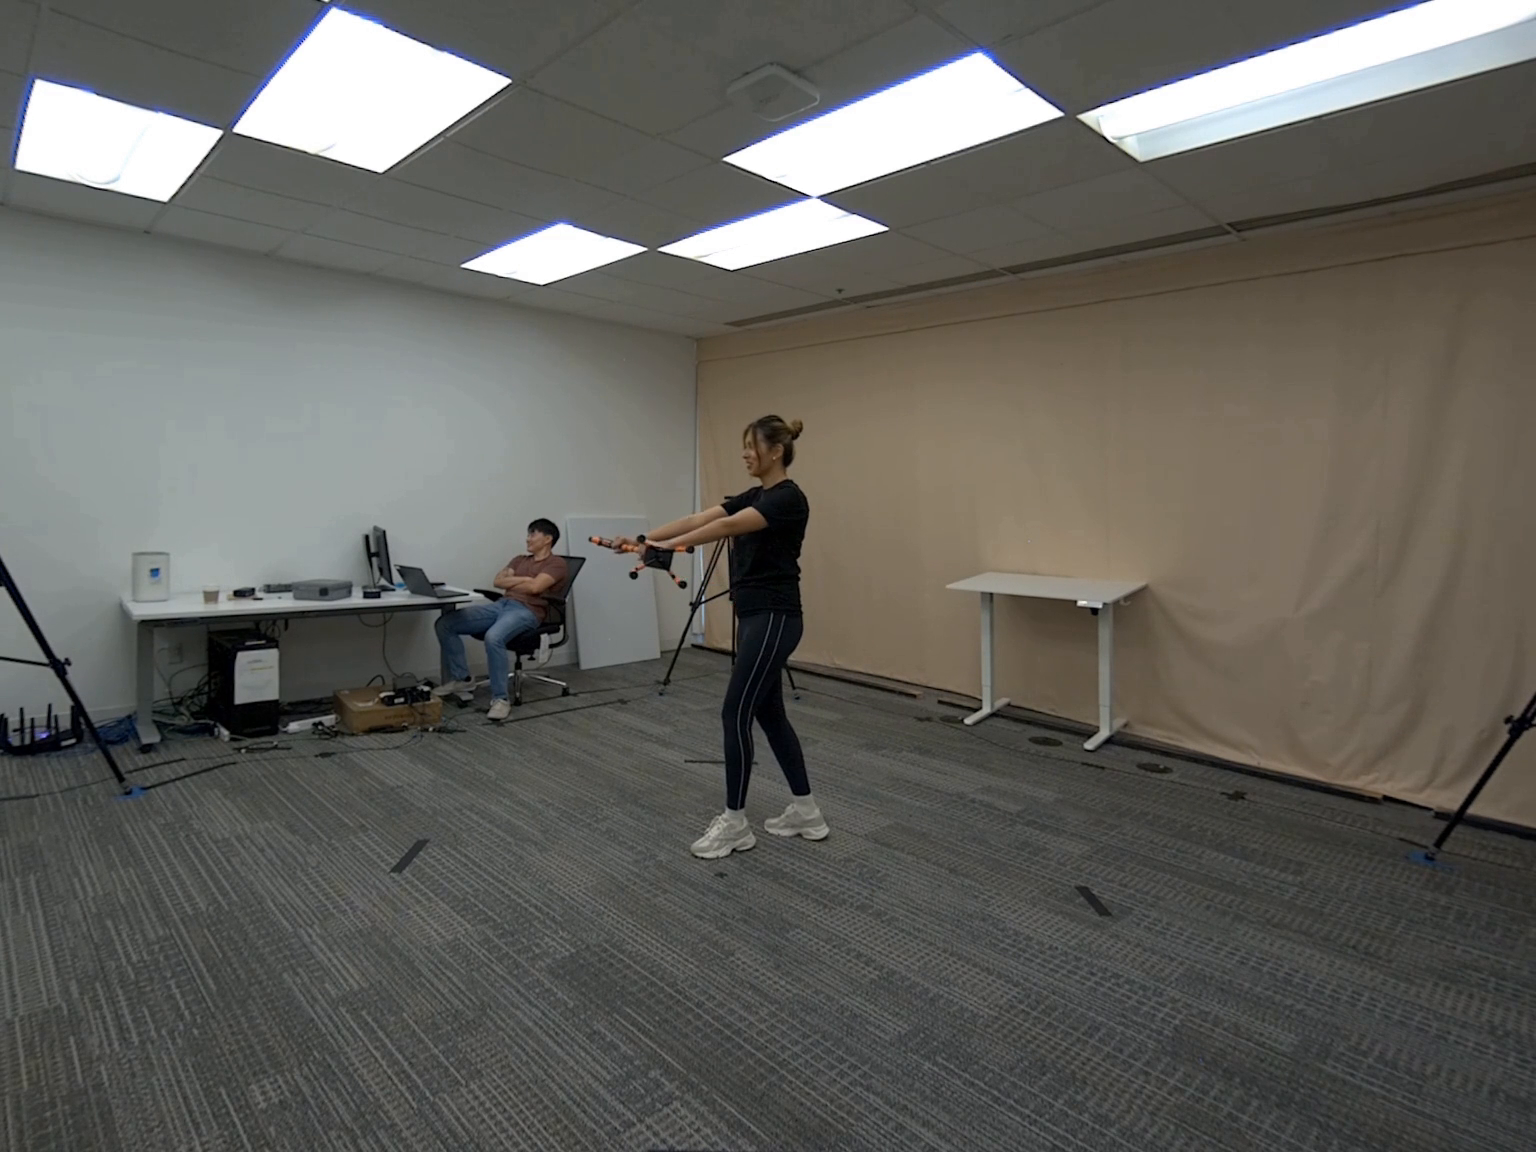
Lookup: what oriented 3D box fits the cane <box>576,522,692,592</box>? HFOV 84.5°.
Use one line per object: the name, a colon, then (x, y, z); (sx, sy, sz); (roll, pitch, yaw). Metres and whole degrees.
cane: (-0.543, -0.090, 3.242); (0.202, 0.151, 0.926); (11, 2, -23)
